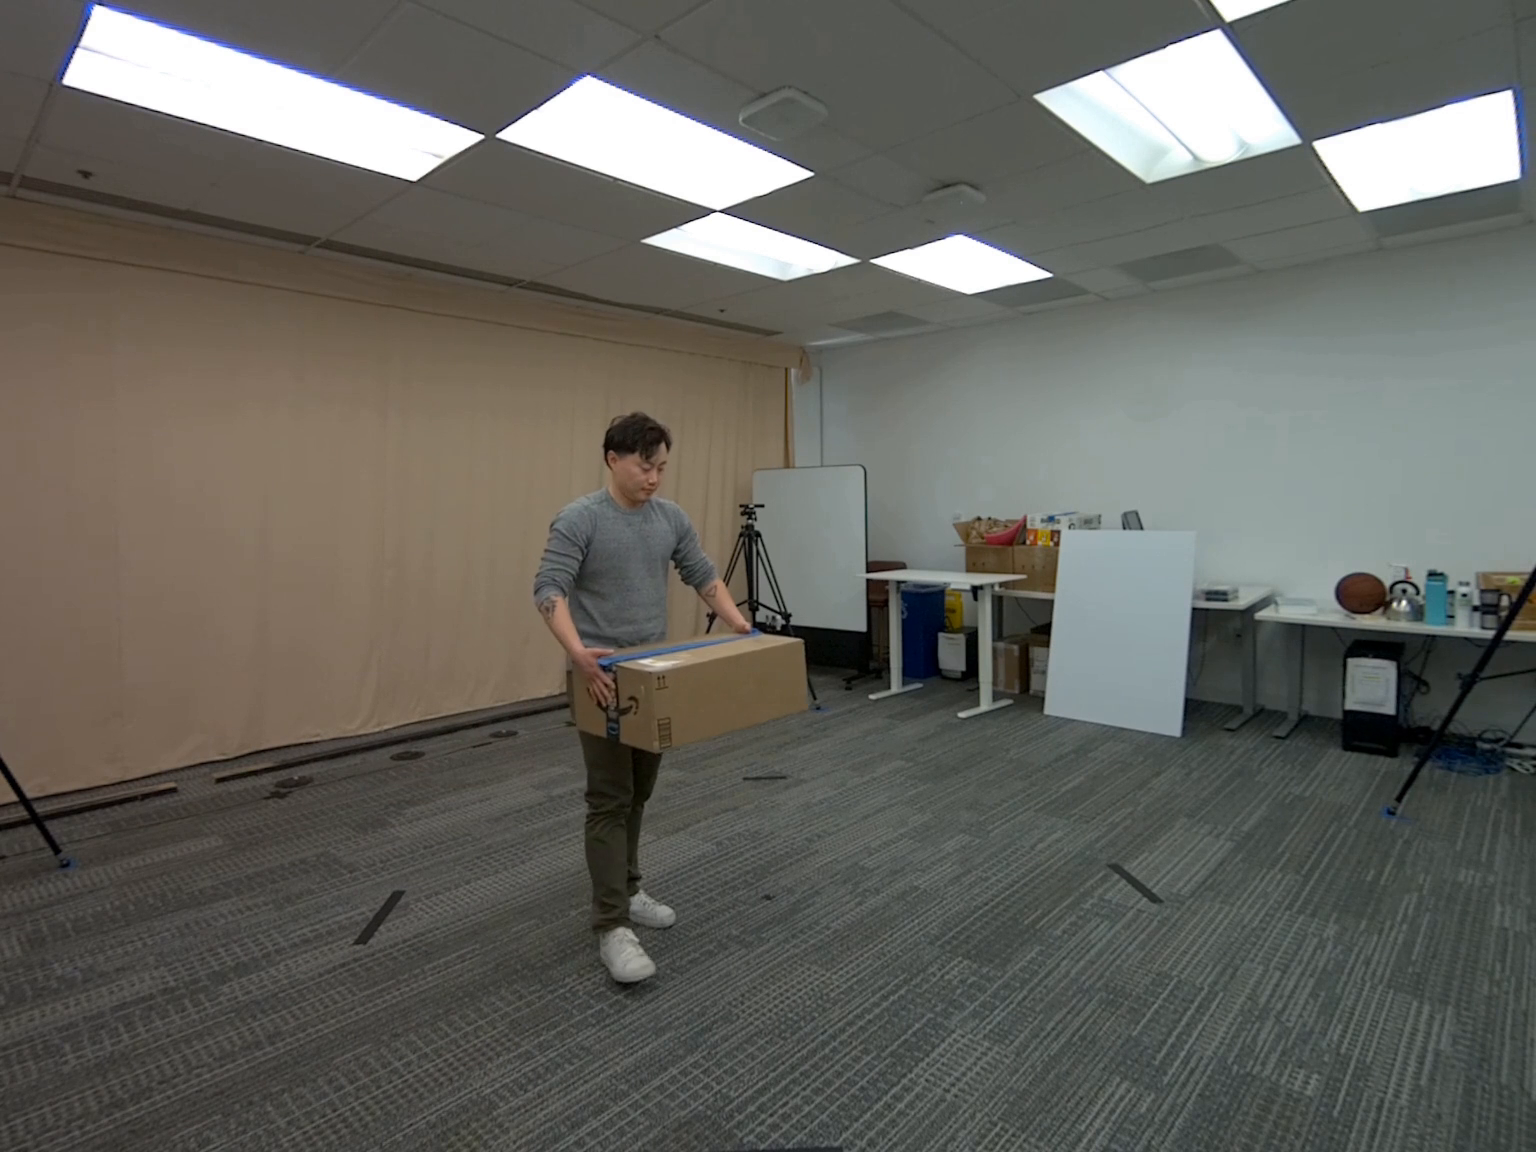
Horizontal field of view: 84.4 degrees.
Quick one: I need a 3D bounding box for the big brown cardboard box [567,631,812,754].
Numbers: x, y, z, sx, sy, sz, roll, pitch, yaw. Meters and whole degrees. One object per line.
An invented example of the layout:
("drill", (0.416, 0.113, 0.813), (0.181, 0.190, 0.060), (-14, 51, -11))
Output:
("big brown cardboard box", (-0.228, 0.317, 2.487), (0.571, 0.233, 0.431), (-7, 5, -41))
